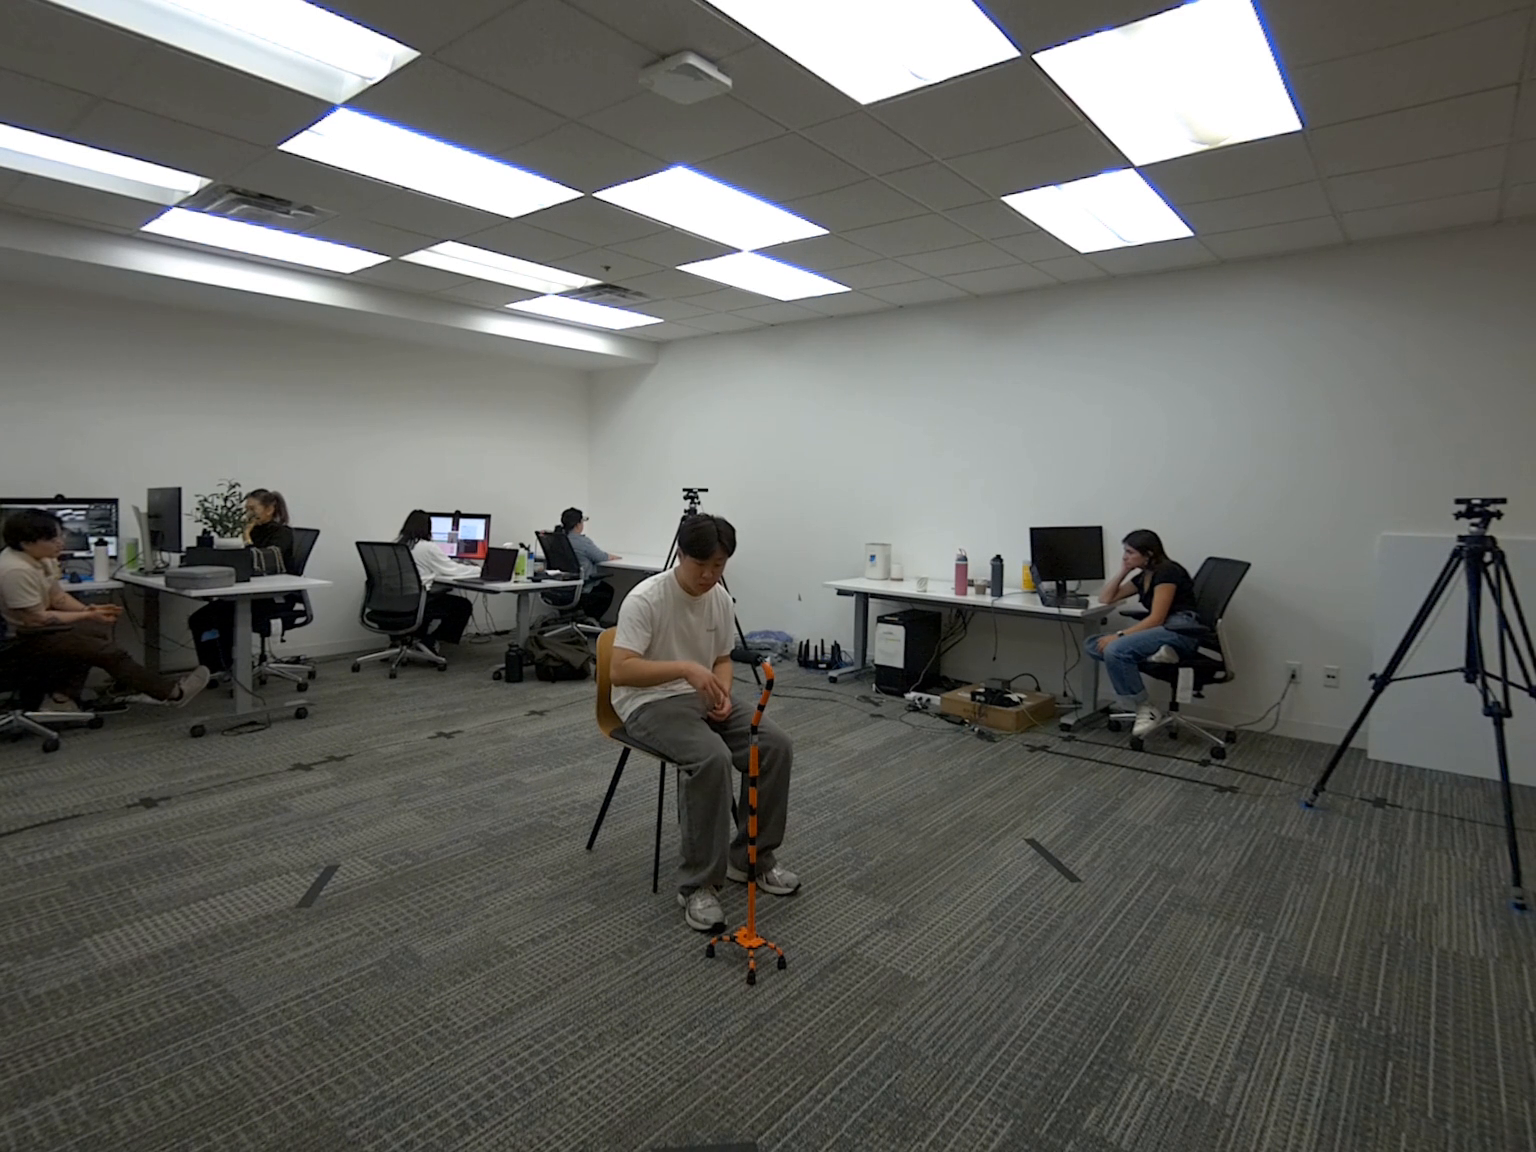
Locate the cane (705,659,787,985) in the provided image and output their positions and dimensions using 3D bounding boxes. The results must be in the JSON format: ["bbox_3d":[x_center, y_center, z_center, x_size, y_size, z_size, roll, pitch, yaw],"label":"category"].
[{"bbox_3d":[-0.056,0.675,2.479,0.147,0.905,0.213,-1,5,-44],"label":"cane"}]
